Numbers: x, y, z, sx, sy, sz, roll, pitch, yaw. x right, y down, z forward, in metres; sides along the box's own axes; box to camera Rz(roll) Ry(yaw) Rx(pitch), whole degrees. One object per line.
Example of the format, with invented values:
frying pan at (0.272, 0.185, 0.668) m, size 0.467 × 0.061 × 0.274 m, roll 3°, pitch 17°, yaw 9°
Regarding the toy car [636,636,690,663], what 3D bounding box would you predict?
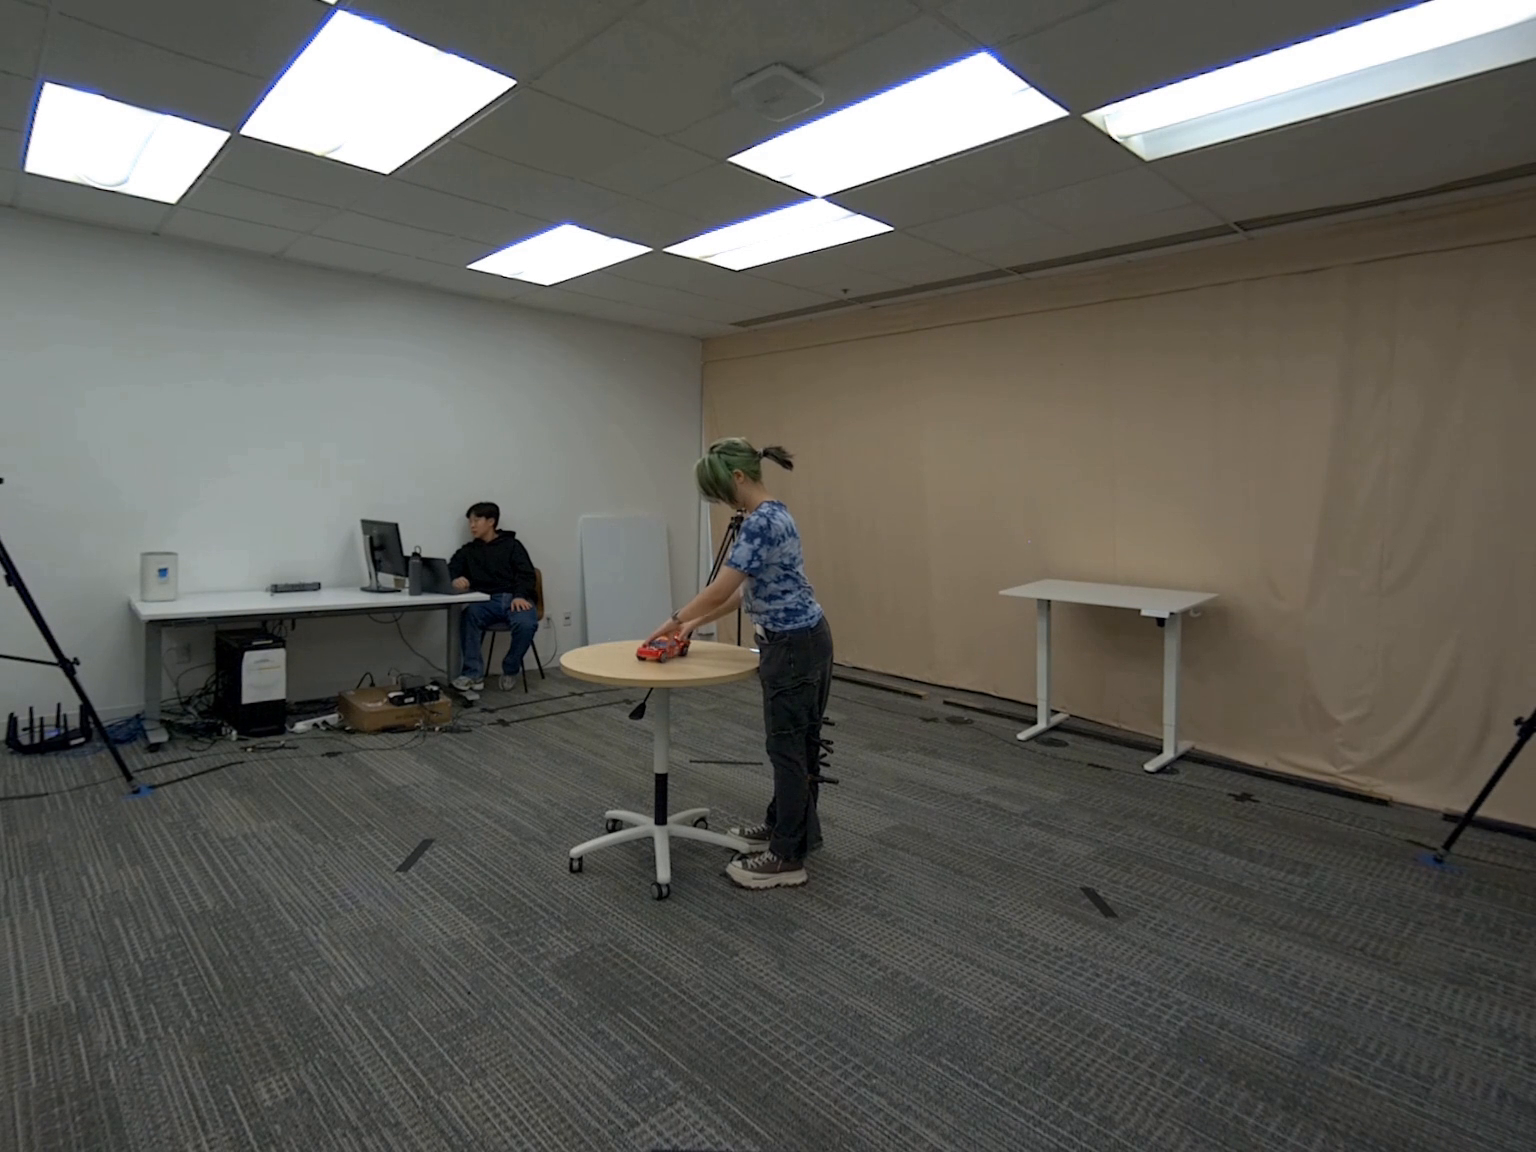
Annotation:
toy car at (-0.390, 0.276, 3.184) m, size 0.133 × 0.082 × 0.252 m, roll 2°, pitch 15°, yaw 27°
